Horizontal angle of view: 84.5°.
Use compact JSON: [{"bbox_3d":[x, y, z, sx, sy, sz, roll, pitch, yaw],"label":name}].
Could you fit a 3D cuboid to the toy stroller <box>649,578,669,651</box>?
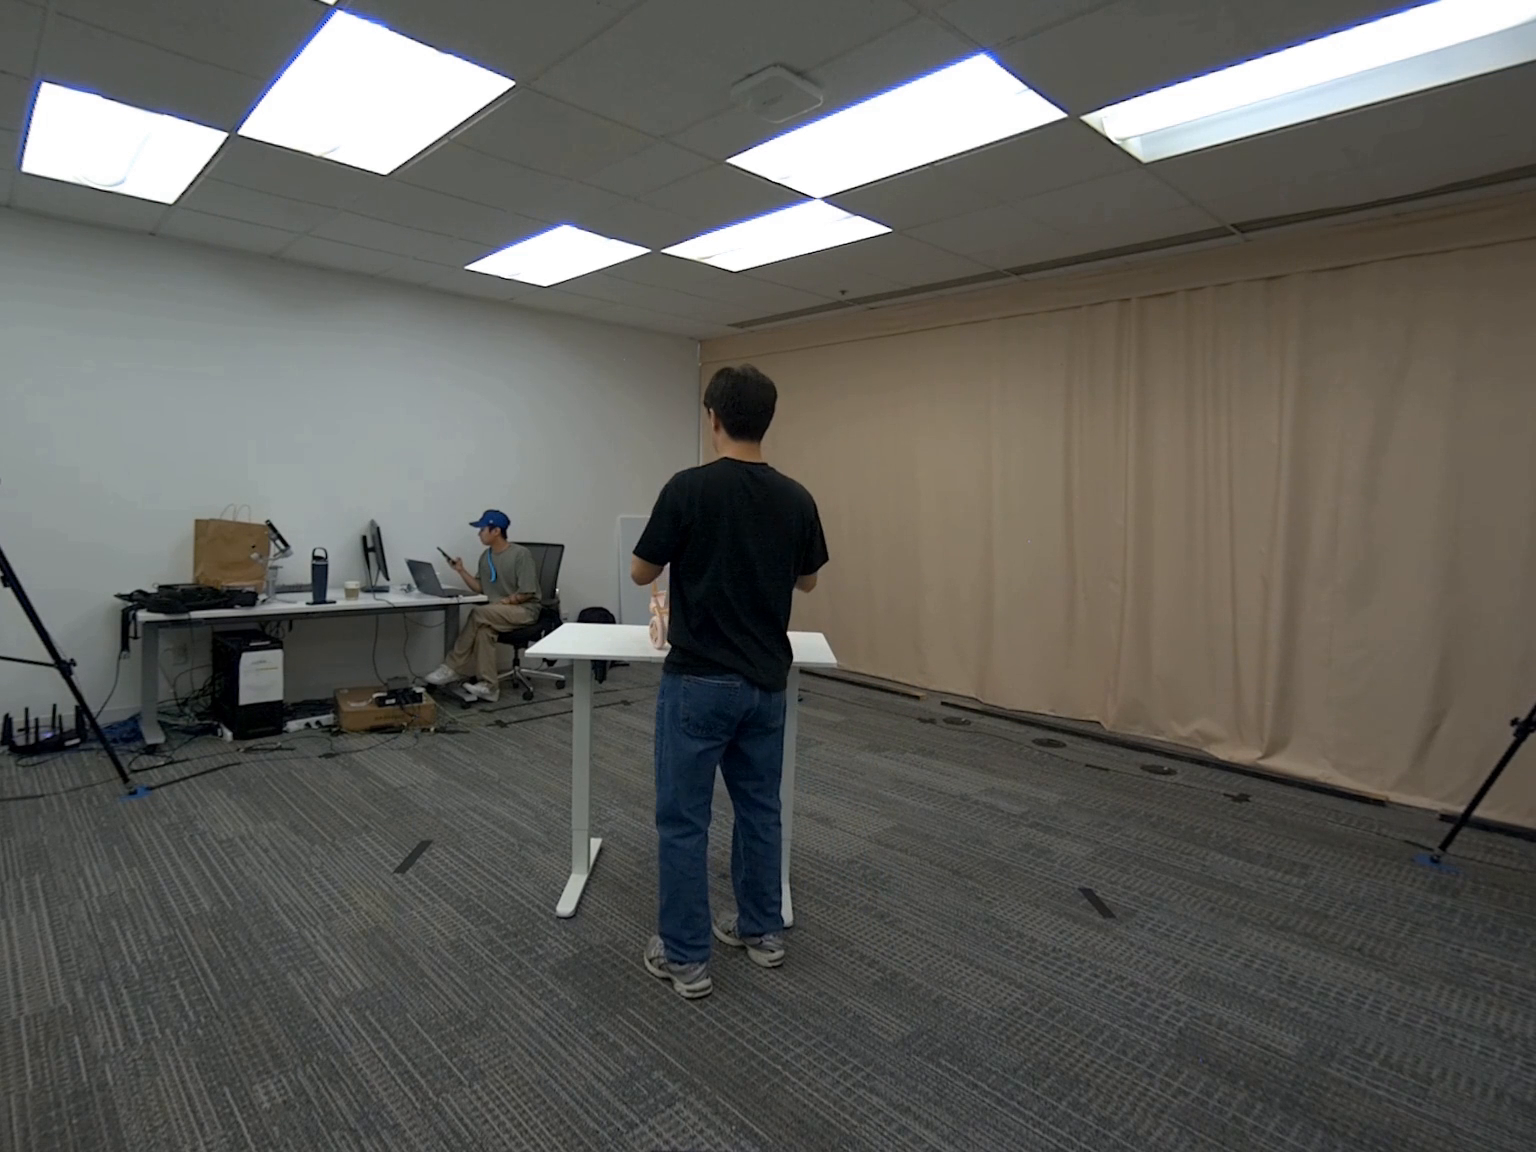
[{"bbox_3d":[-0.280,0.016,2.912,0.277,0.529,0.350,1,19,-20],"label":"toy stroller"}]
